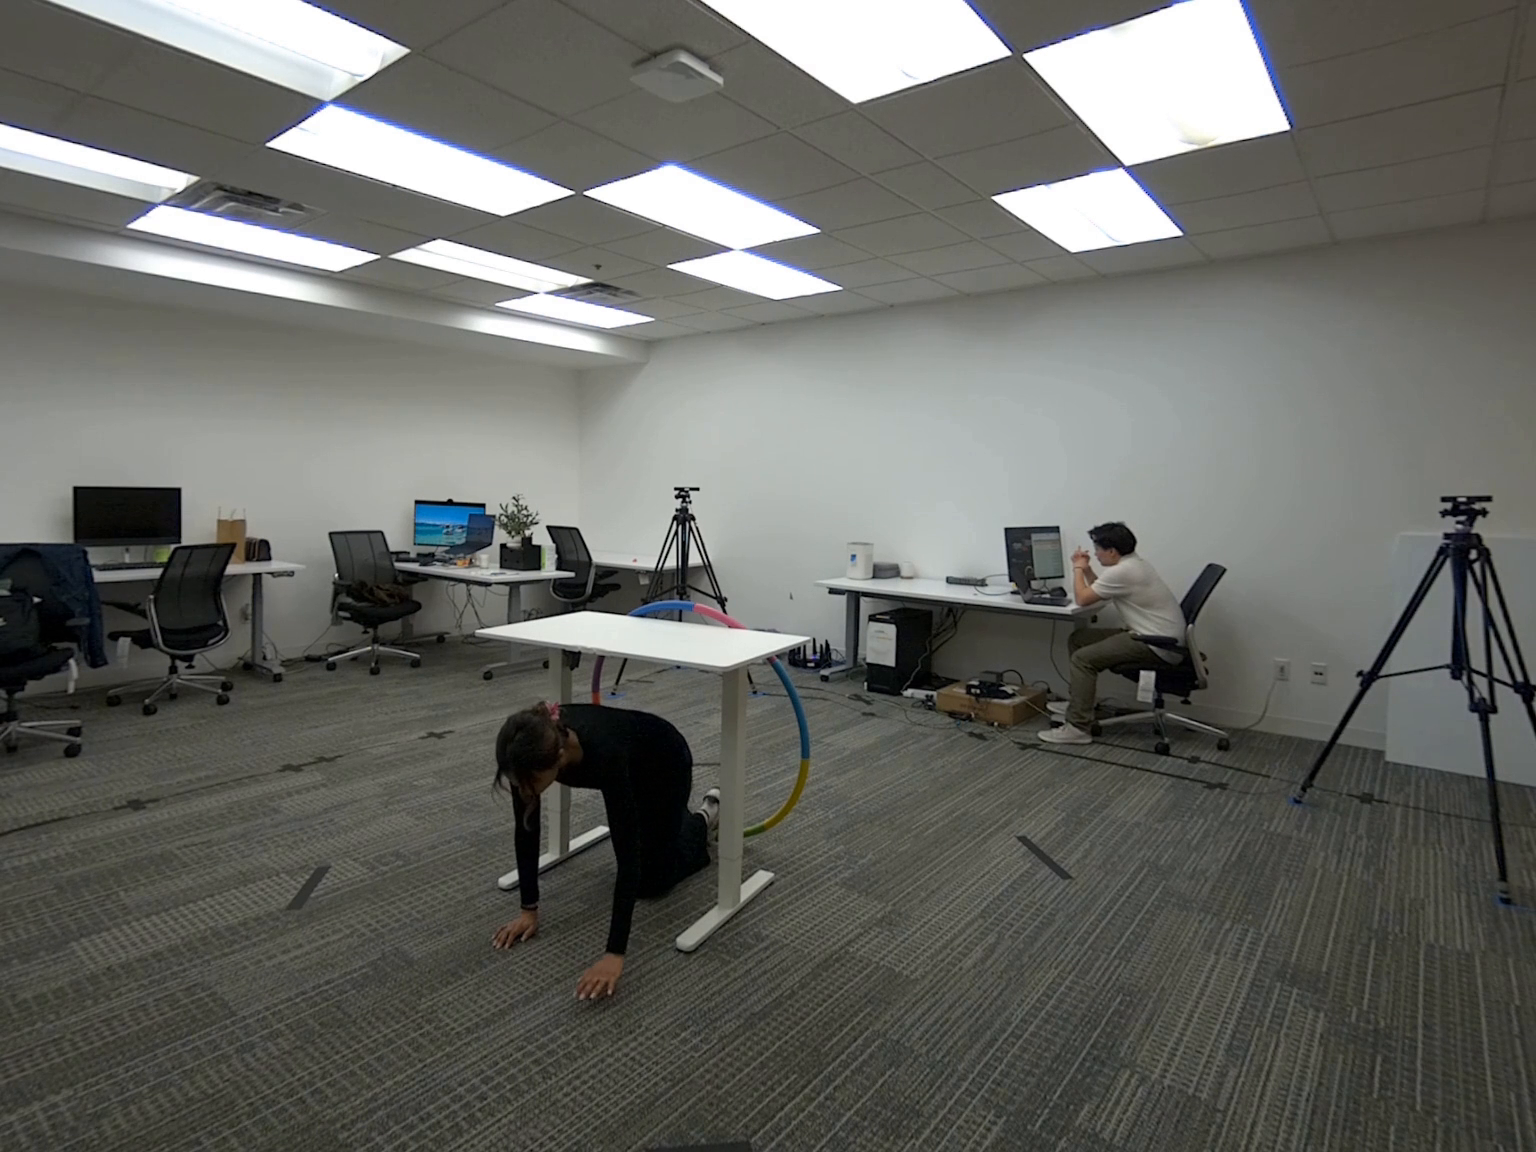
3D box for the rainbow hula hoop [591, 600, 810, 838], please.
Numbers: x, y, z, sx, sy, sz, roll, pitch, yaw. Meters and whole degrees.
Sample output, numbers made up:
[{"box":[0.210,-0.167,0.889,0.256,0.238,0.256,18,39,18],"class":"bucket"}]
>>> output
[{"box":[-0.300,0.566,3.308,1.007,0.966,0.035,3,14,30],"class":"rainbow hula hoop"}]
